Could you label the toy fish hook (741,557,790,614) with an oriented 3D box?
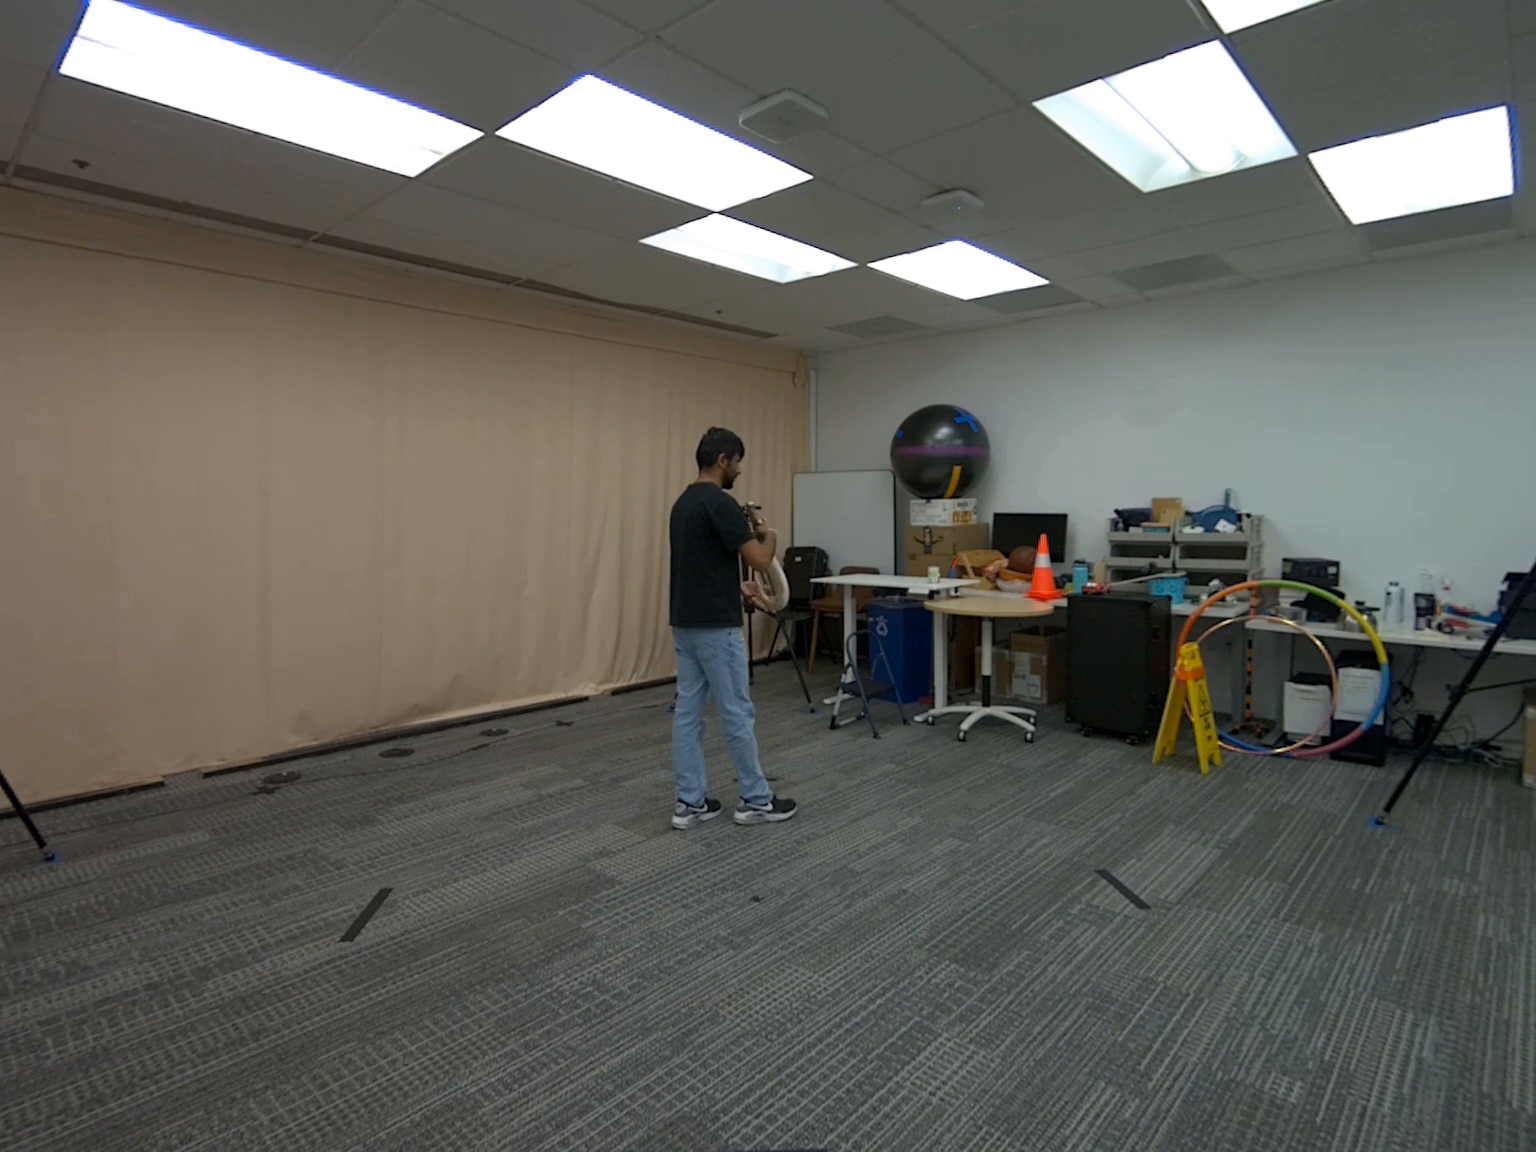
[{"bbox_3d":[-0.027,-0.085,3.827,0.047,0.512,0.228,-8,-14,-39],"label":"toy fish hook"}]
